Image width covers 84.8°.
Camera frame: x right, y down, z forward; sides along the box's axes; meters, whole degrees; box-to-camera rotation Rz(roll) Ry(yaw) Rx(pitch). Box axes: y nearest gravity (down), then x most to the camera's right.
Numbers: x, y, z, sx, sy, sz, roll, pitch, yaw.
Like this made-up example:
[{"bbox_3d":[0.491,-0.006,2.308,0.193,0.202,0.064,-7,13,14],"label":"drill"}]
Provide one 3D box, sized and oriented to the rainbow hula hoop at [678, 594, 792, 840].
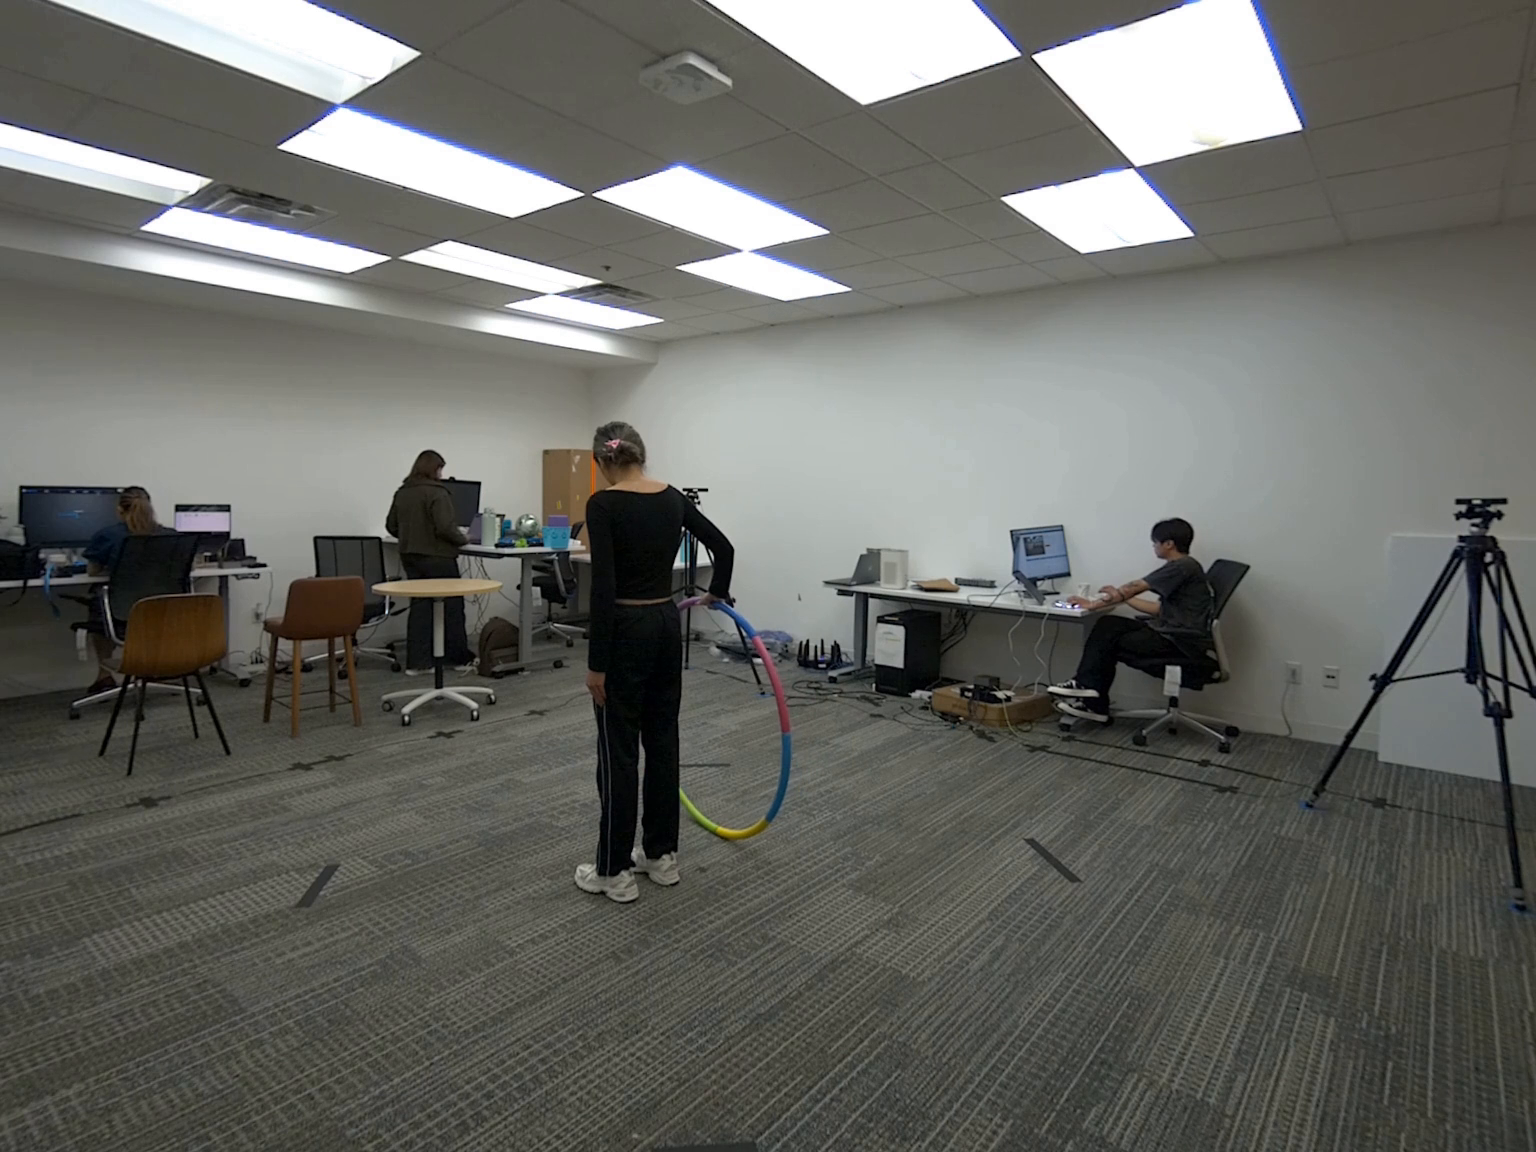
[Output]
[{"bbox_3d":[-0.245,0.558,3.428,0.034,0.974,1.011,-4,6,-36],"label":"rainbow hula hoop"}]
